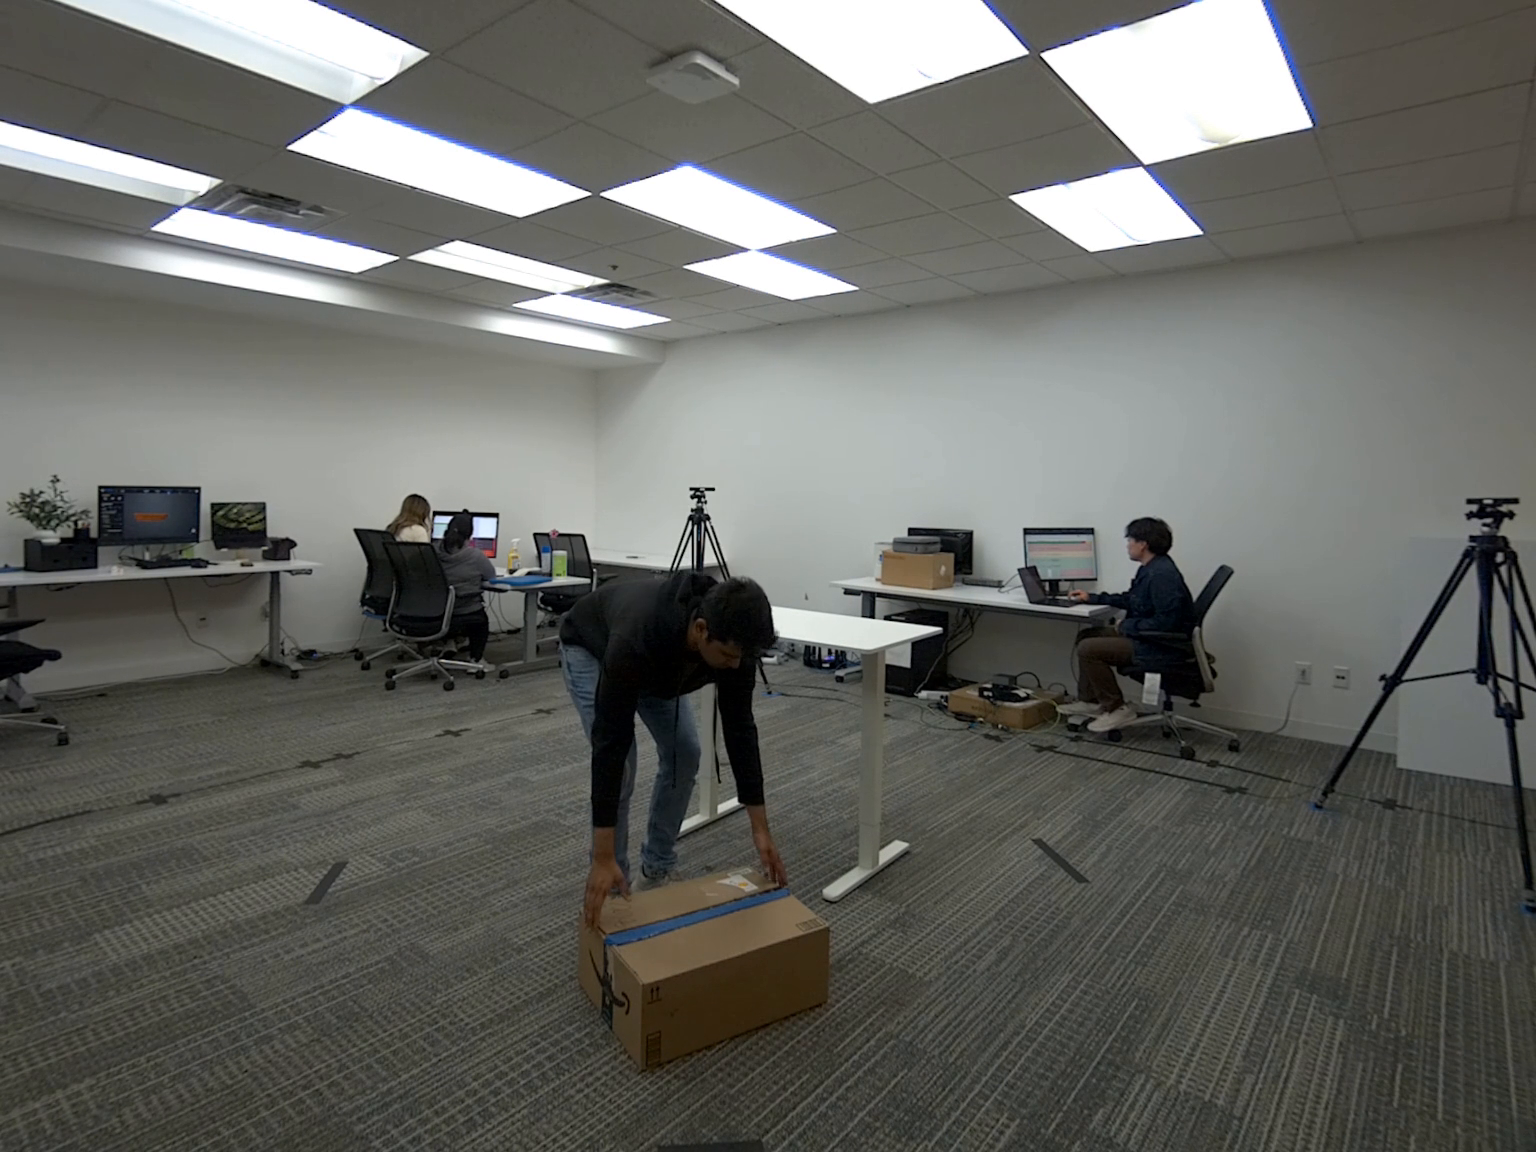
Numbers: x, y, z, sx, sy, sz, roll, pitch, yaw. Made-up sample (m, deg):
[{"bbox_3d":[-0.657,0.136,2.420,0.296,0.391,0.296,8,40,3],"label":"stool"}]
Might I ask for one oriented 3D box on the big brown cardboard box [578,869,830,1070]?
[{"bbox_3d":[-0.182,1.036,2.335,0.573,0.232,0.431,-4,8,-33],"label":"big brown cardboard box"}]
